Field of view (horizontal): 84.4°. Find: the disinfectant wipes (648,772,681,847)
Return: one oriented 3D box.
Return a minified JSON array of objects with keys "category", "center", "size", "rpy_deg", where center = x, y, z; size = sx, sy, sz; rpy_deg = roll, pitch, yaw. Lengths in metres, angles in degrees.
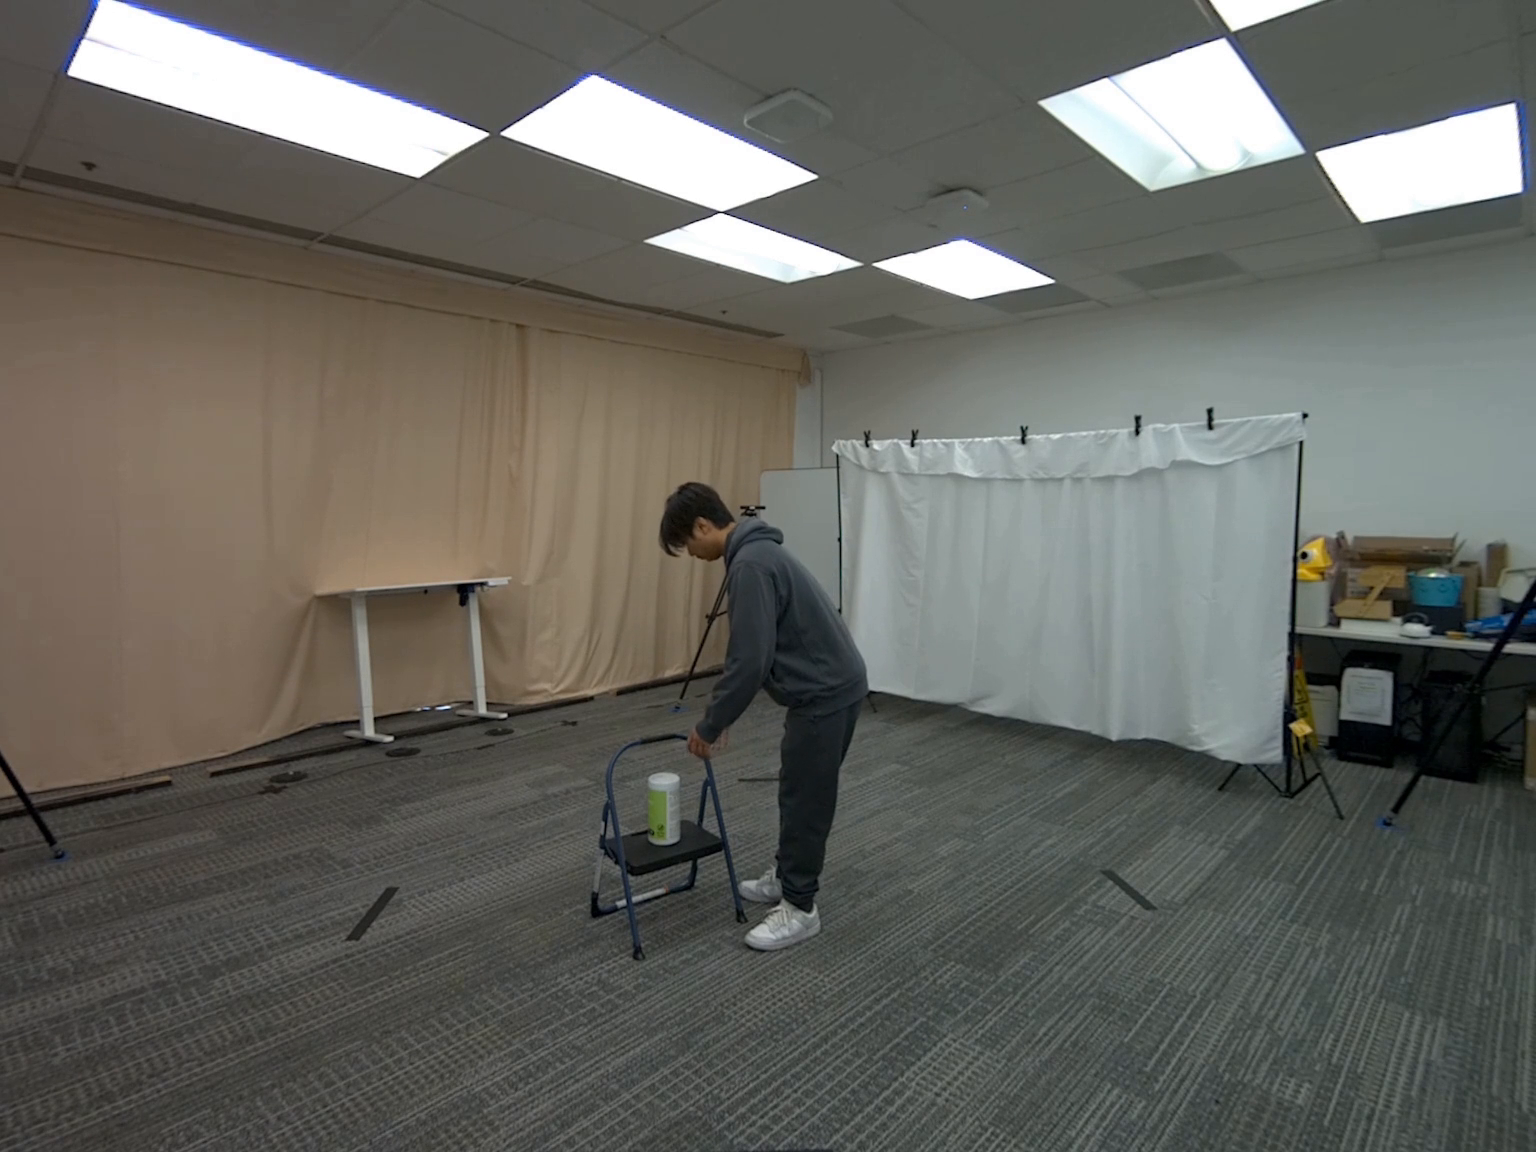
[{"category":"disinfectant wipes","center":[-0.352,0.793,2.853],"size":[0.118,0.217,0.118],"rpy_deg":[-1,3,-2]}]
